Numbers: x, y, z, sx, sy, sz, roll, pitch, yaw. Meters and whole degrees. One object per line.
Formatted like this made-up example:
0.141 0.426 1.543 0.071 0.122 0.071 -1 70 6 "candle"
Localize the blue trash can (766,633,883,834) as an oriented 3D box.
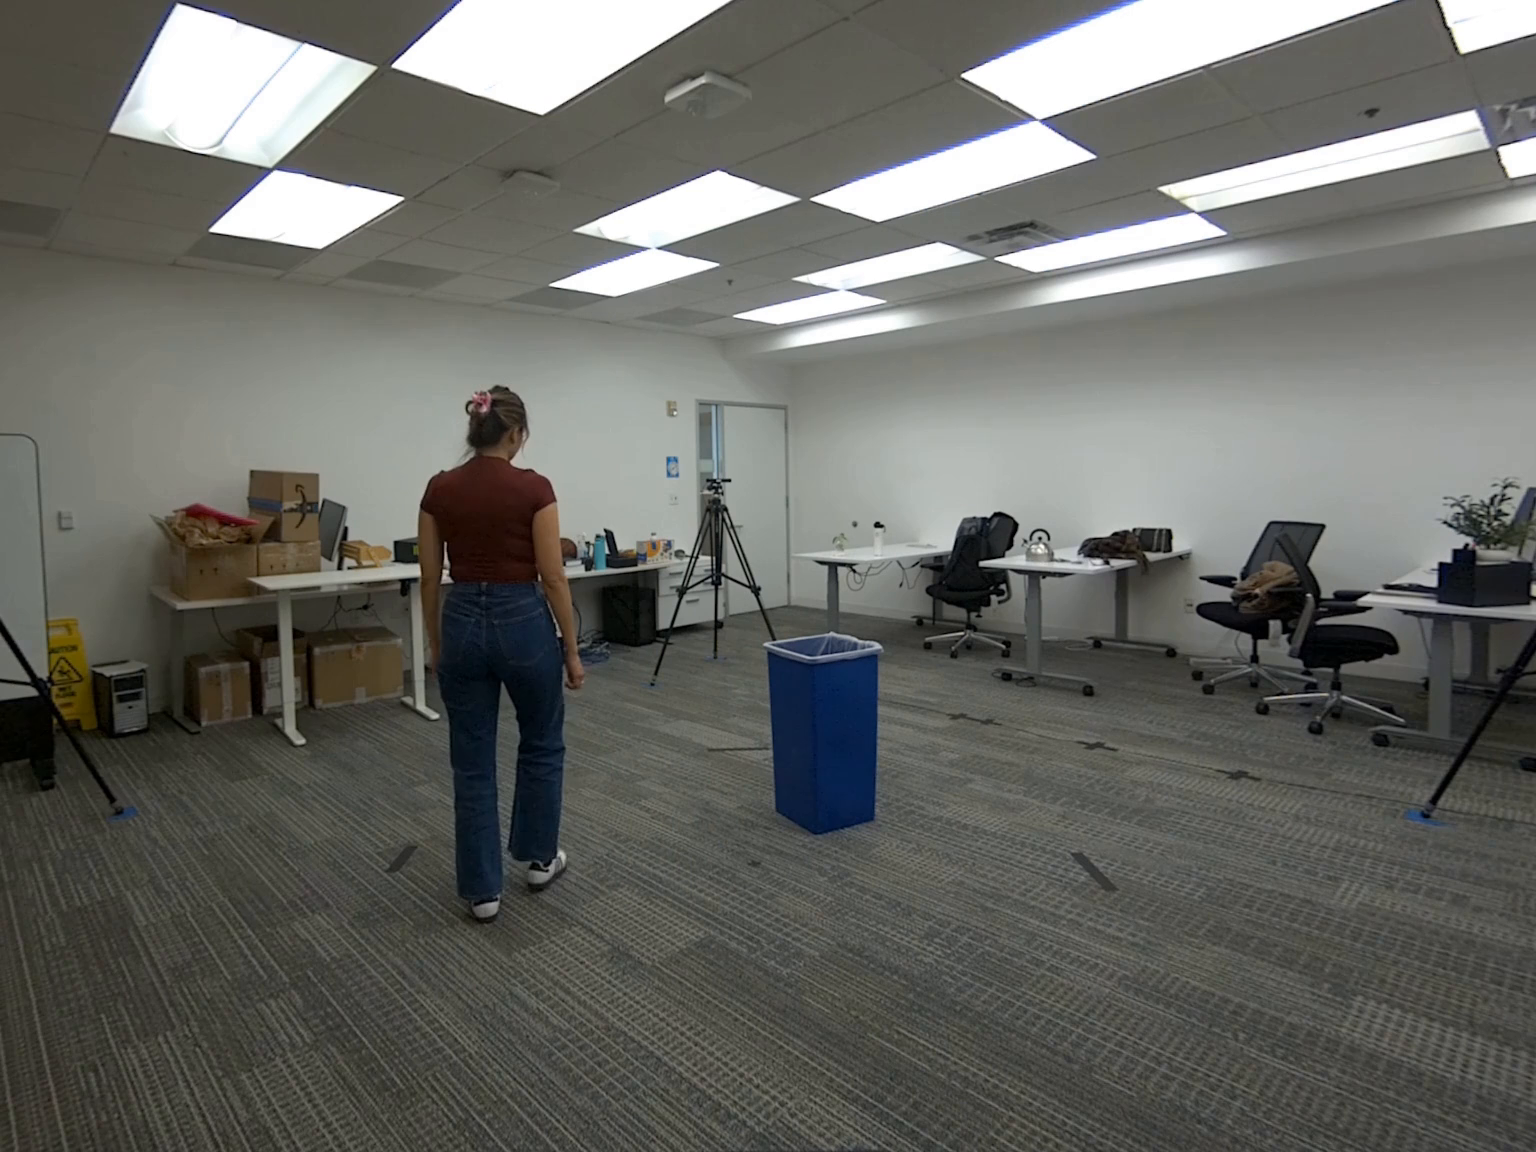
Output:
0.228 0.635 3.516 0.365 0.711 0.389 -4 4 -32 "blue trash can"
